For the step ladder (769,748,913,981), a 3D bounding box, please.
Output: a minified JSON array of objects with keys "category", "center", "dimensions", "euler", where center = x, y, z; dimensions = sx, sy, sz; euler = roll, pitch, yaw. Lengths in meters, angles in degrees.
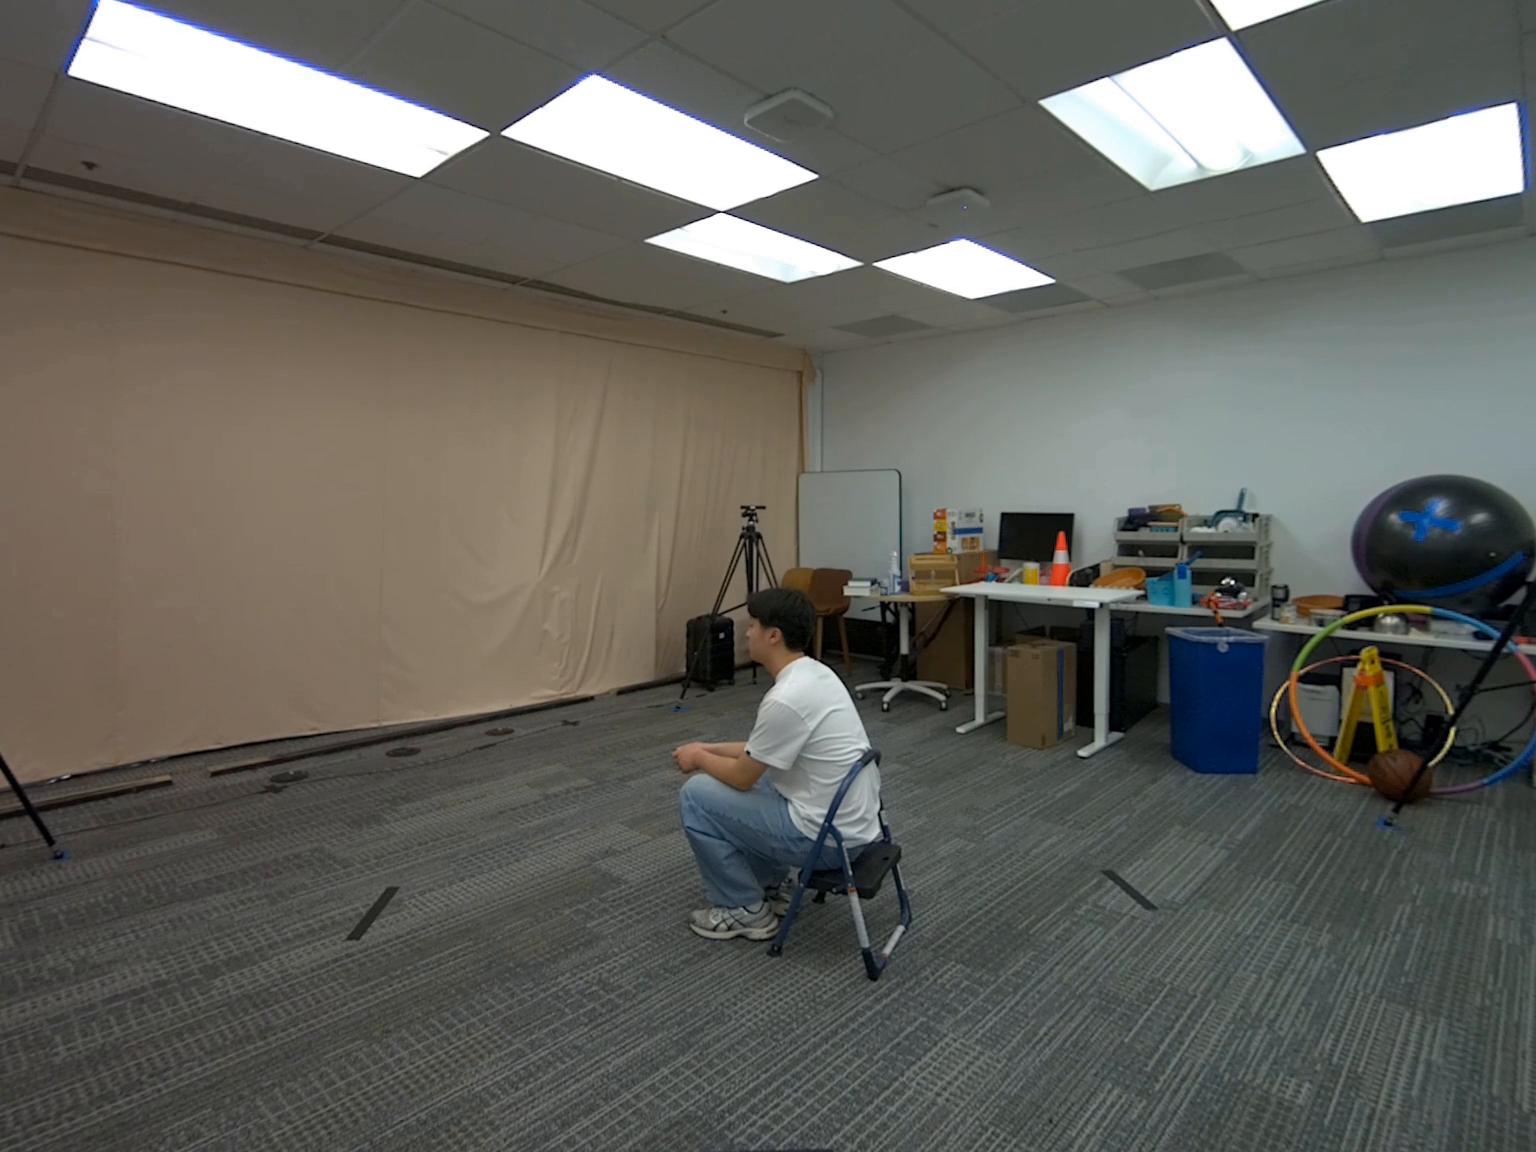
[{"category":"step ladder","center":[0.251,0.869,2.694],"dimensions":[0.358,0.604,0.420],"euler":[2,5,26]}]
